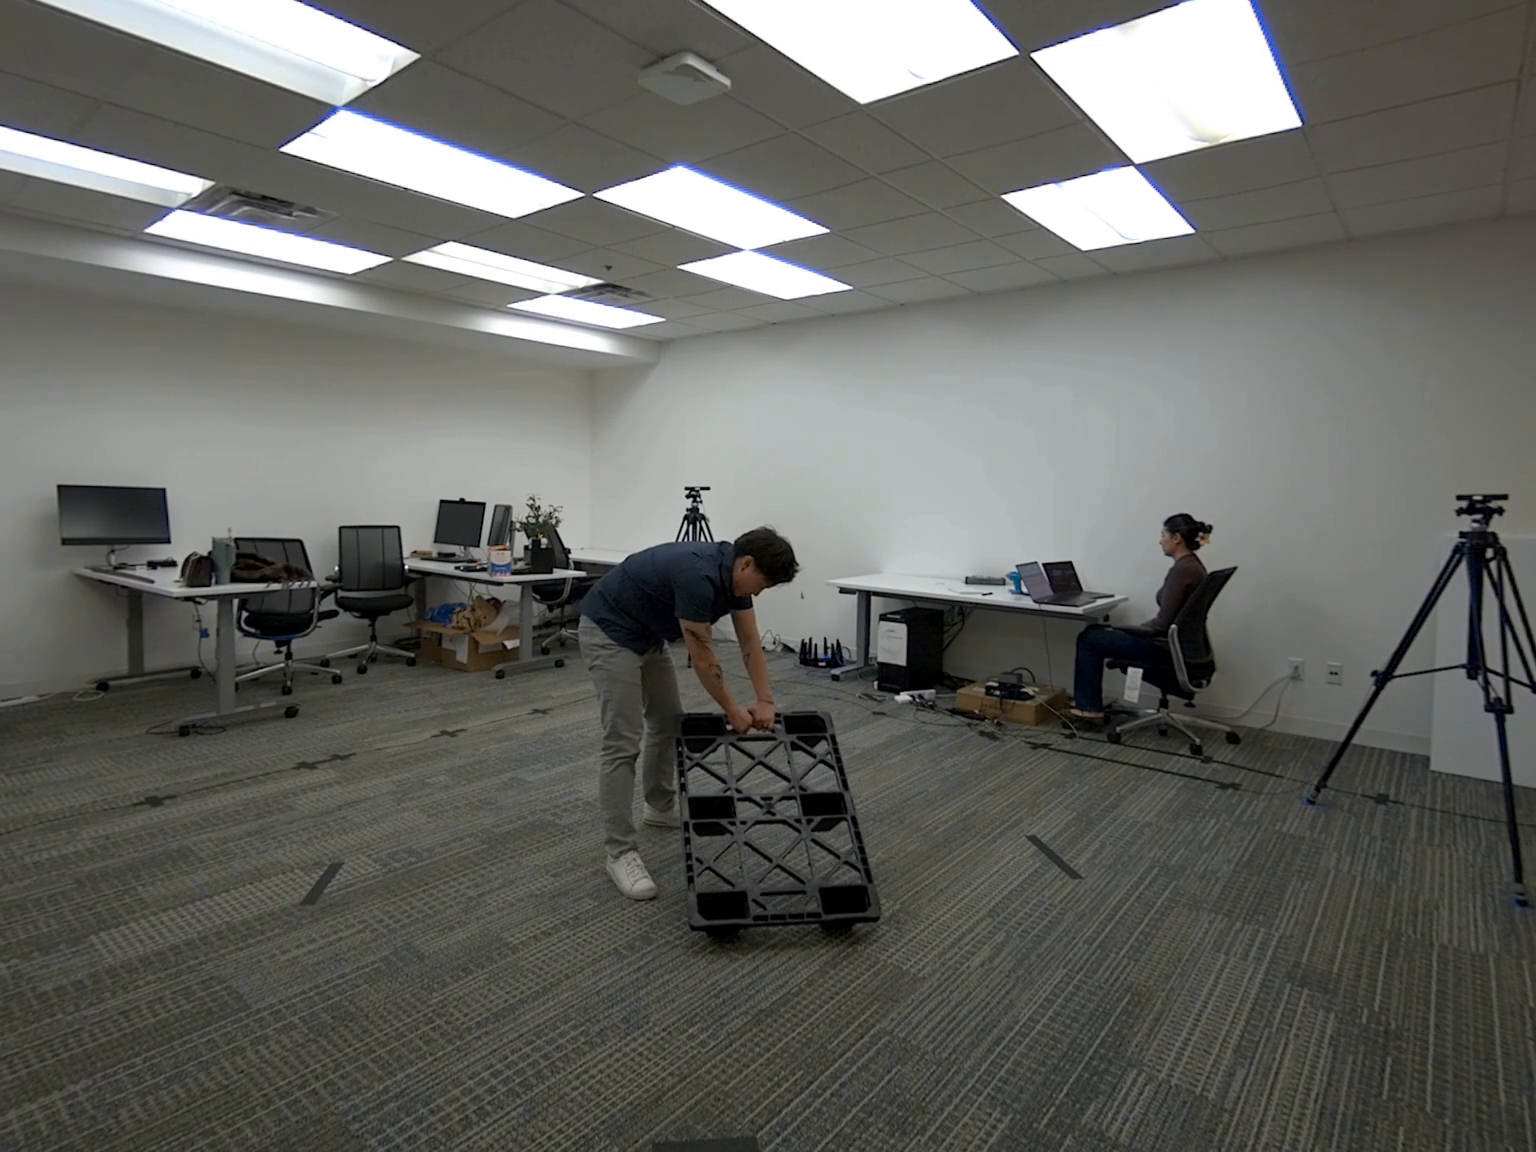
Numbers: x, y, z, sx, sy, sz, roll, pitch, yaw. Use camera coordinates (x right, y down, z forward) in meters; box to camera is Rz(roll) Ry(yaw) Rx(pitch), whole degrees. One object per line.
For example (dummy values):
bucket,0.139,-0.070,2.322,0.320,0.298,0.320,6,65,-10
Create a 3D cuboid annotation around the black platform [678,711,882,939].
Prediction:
black platform,-0.012,0.817,2.915,0.599,0.140,0.833,0,41,-10
